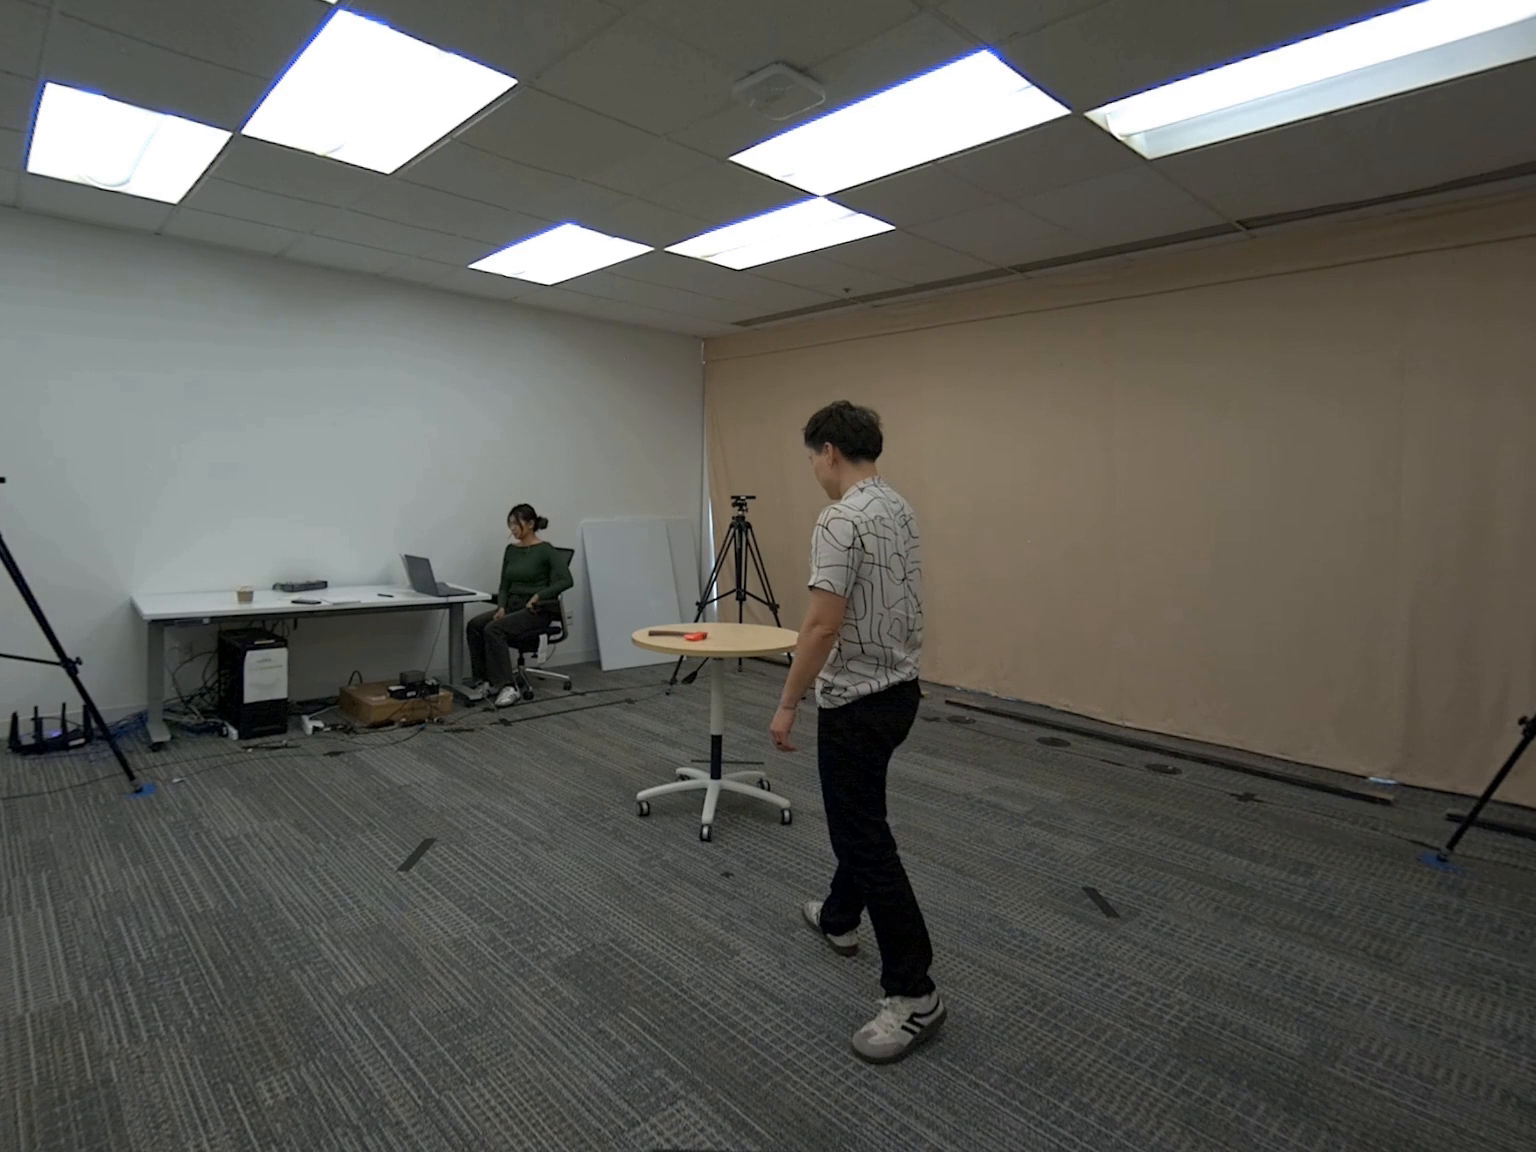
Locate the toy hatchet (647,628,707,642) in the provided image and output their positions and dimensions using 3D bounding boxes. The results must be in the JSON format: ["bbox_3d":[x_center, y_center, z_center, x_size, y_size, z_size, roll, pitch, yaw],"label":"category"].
[{"bbox_3d":[-0.408,0.259,3.631,0.272,0.029,0.131,0,8,7],"label":"toy hatchet"}]
